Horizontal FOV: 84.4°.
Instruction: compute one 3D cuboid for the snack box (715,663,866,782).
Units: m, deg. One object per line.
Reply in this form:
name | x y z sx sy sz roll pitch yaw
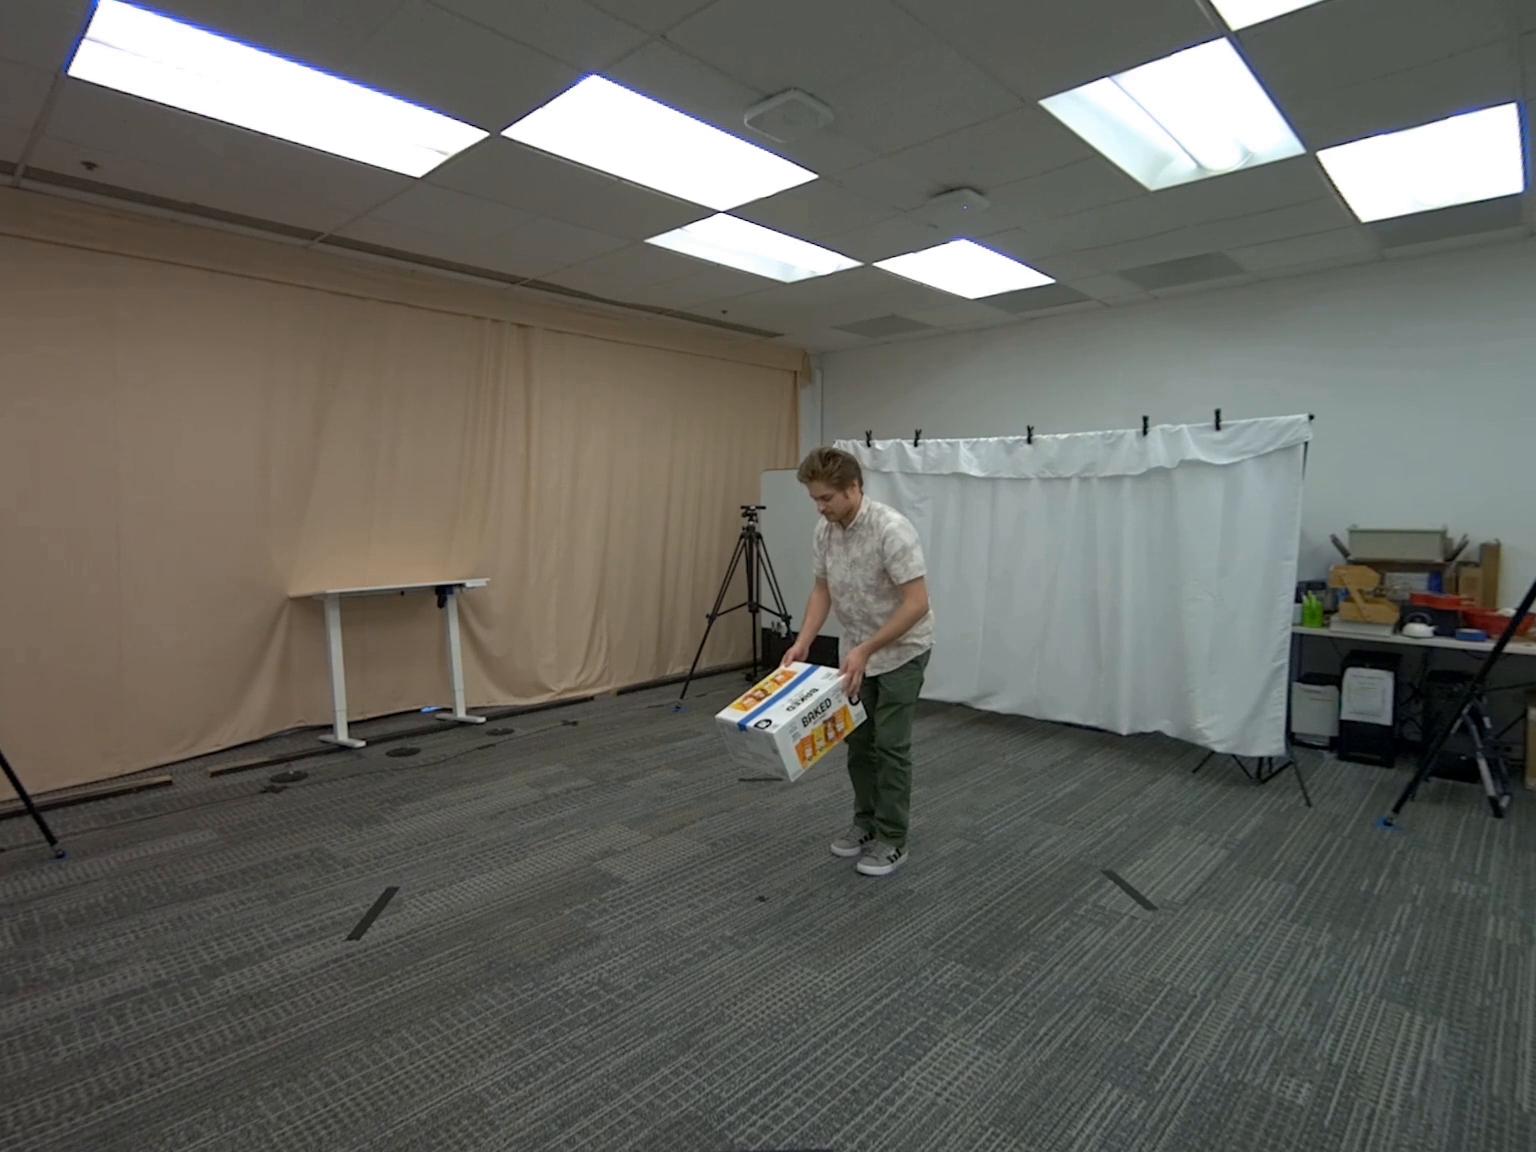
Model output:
snack box | 0.086 0.524 3.084 0.399 0.202 0.351 -33 20 -32
